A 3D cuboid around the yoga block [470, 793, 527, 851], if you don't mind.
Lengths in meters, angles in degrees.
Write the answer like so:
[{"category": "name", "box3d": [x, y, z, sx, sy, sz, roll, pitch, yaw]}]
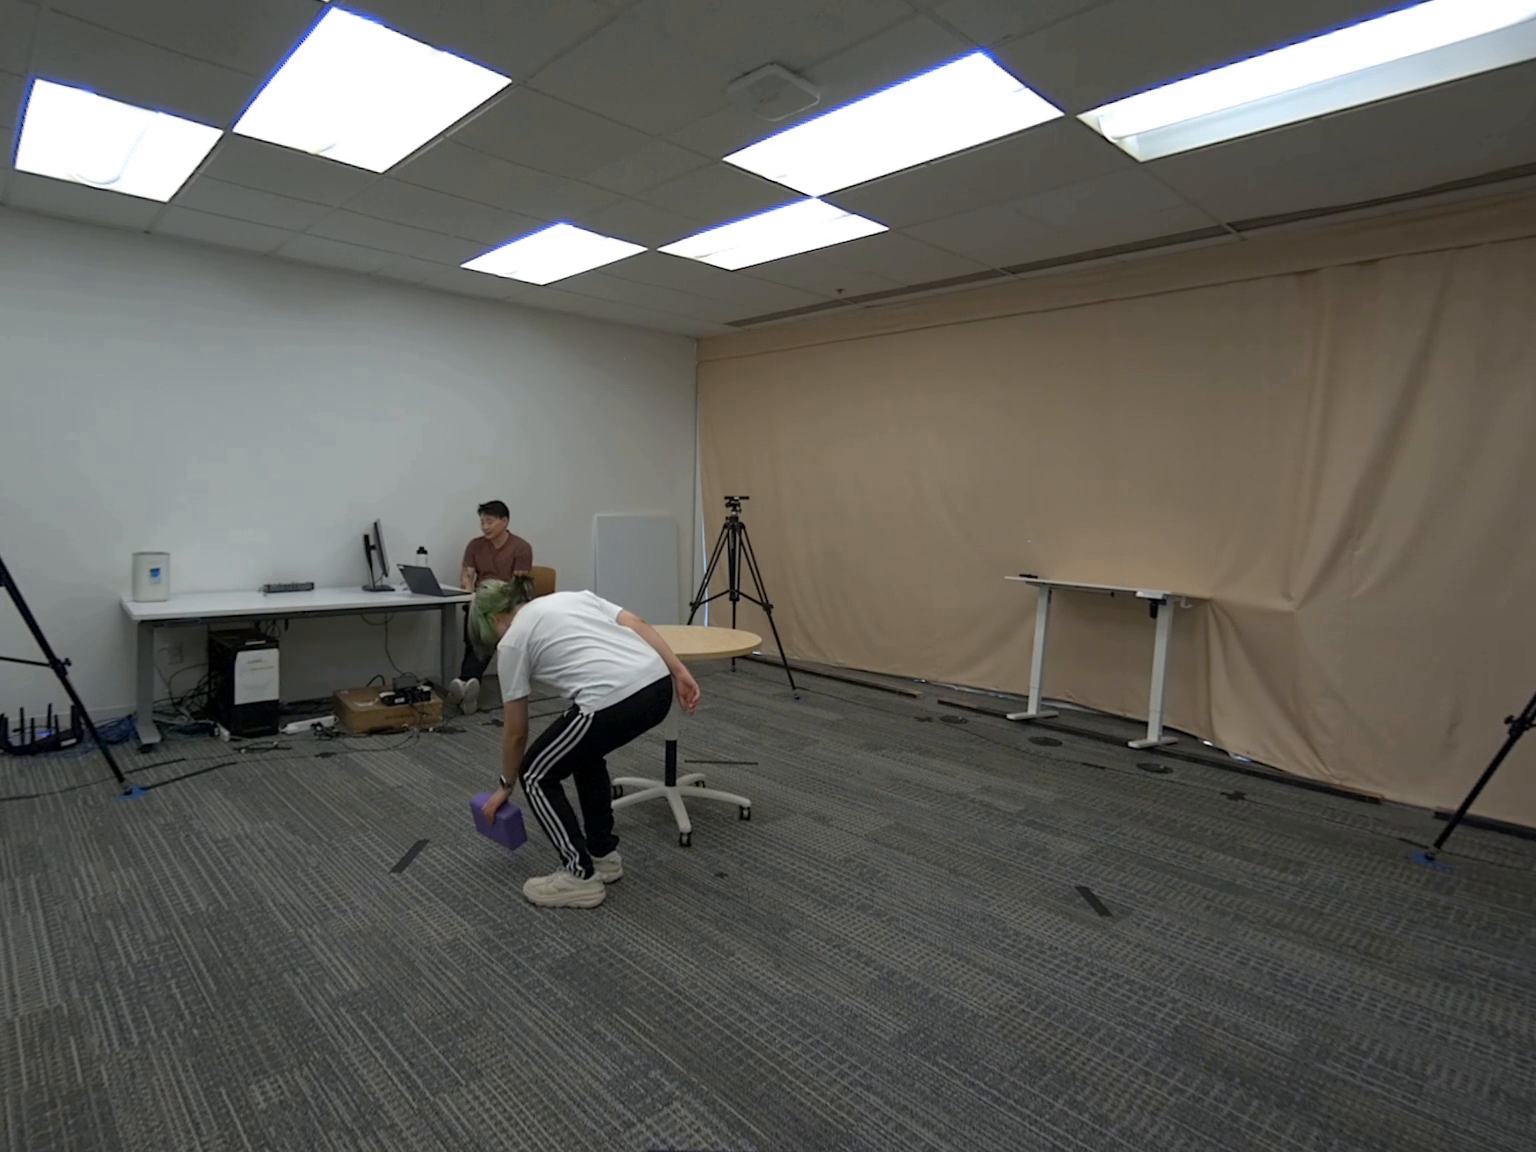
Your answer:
[{"category": "yoga block", "box3d": [-1.004, 0.893, 3.111, 0.235, 0.147, 0.075, 4, 18, 35]}]
